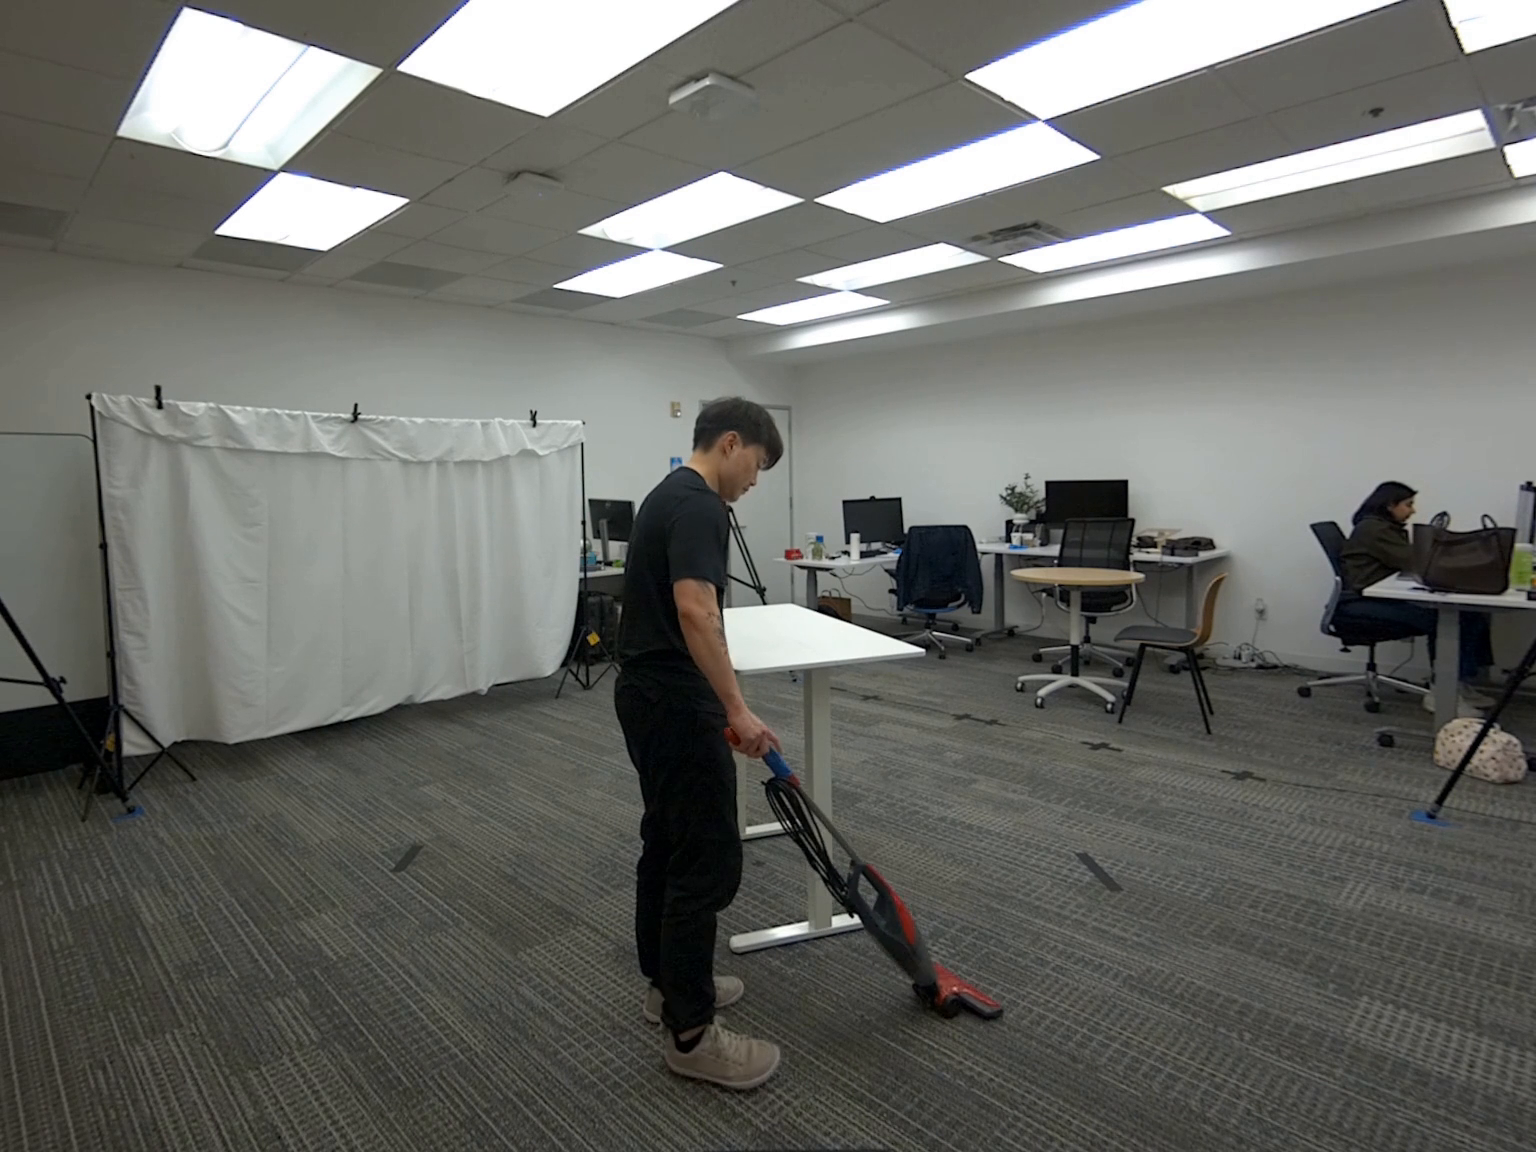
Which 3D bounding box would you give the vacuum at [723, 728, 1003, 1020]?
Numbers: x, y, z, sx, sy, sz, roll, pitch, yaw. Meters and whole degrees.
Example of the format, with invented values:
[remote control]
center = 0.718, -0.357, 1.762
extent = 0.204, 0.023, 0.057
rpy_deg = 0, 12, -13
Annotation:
[vacuum]
center = 0.221, 0.739, 2.103
extent = 0.144, 1.022, 0.260
rpy_deg = -45, 24, -23
